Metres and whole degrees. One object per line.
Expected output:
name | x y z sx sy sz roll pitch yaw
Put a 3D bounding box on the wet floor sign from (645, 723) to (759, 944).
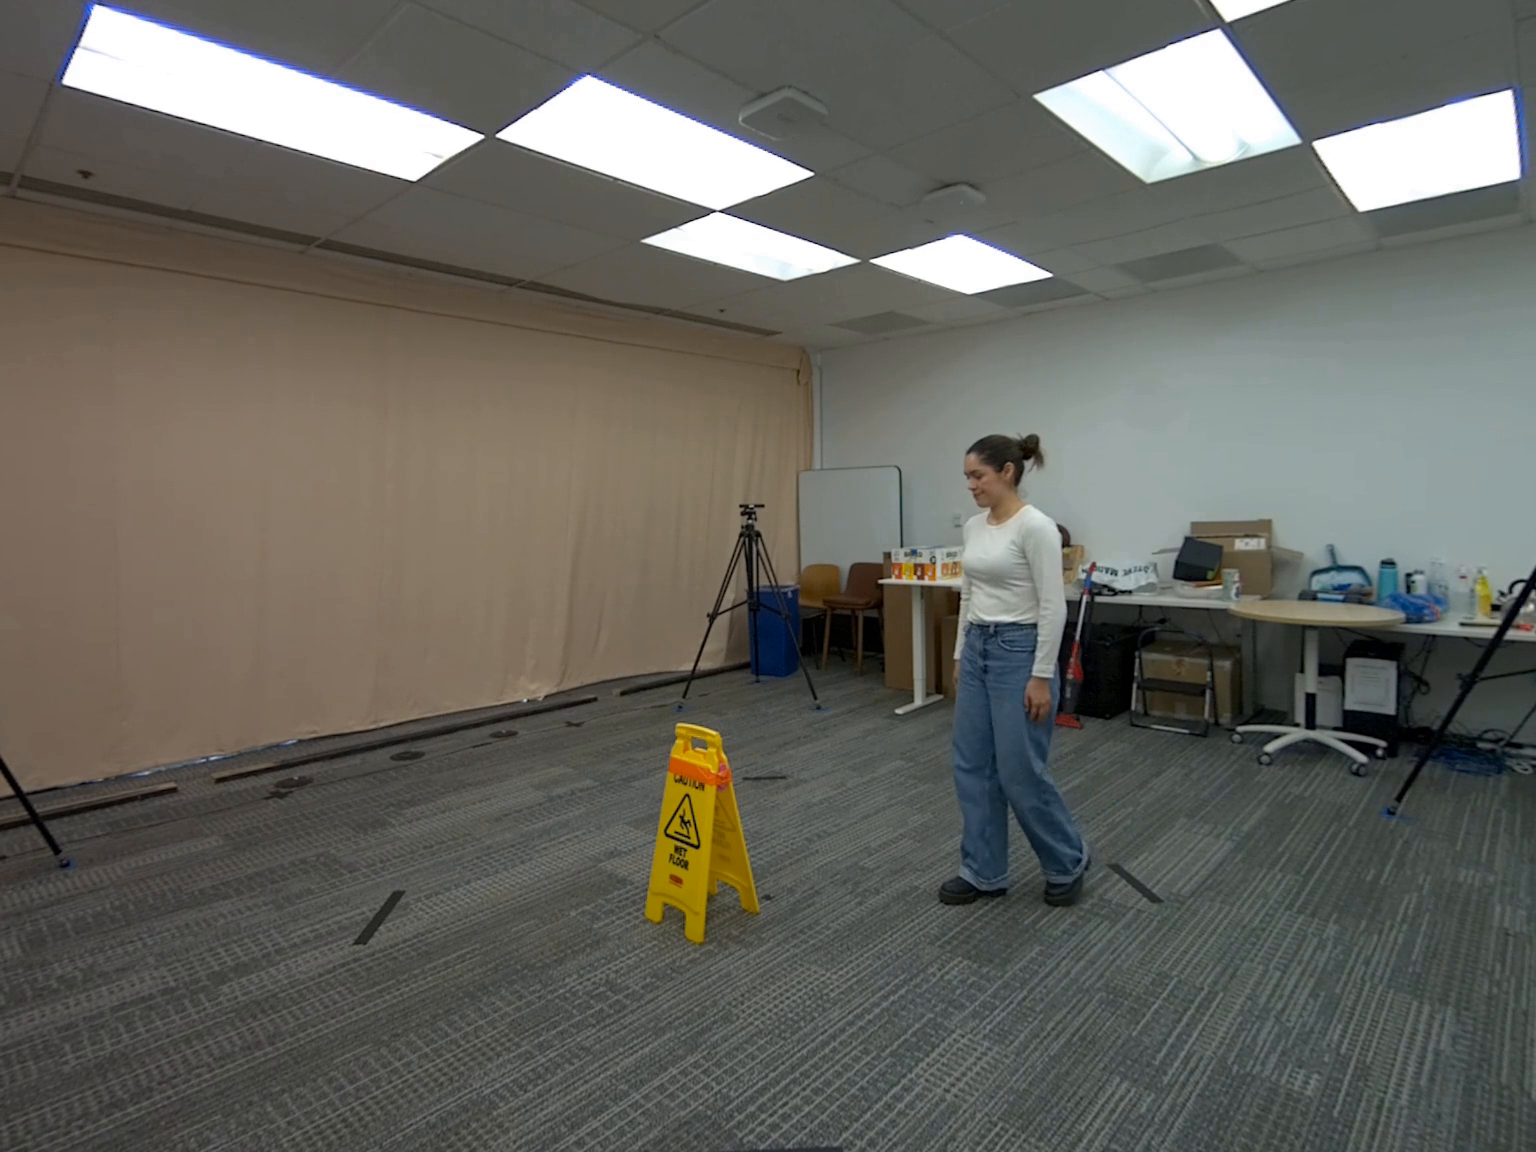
wet floor sign | -0.229 0.835 2.849 0.291 0.645 0.281 1 4 43
